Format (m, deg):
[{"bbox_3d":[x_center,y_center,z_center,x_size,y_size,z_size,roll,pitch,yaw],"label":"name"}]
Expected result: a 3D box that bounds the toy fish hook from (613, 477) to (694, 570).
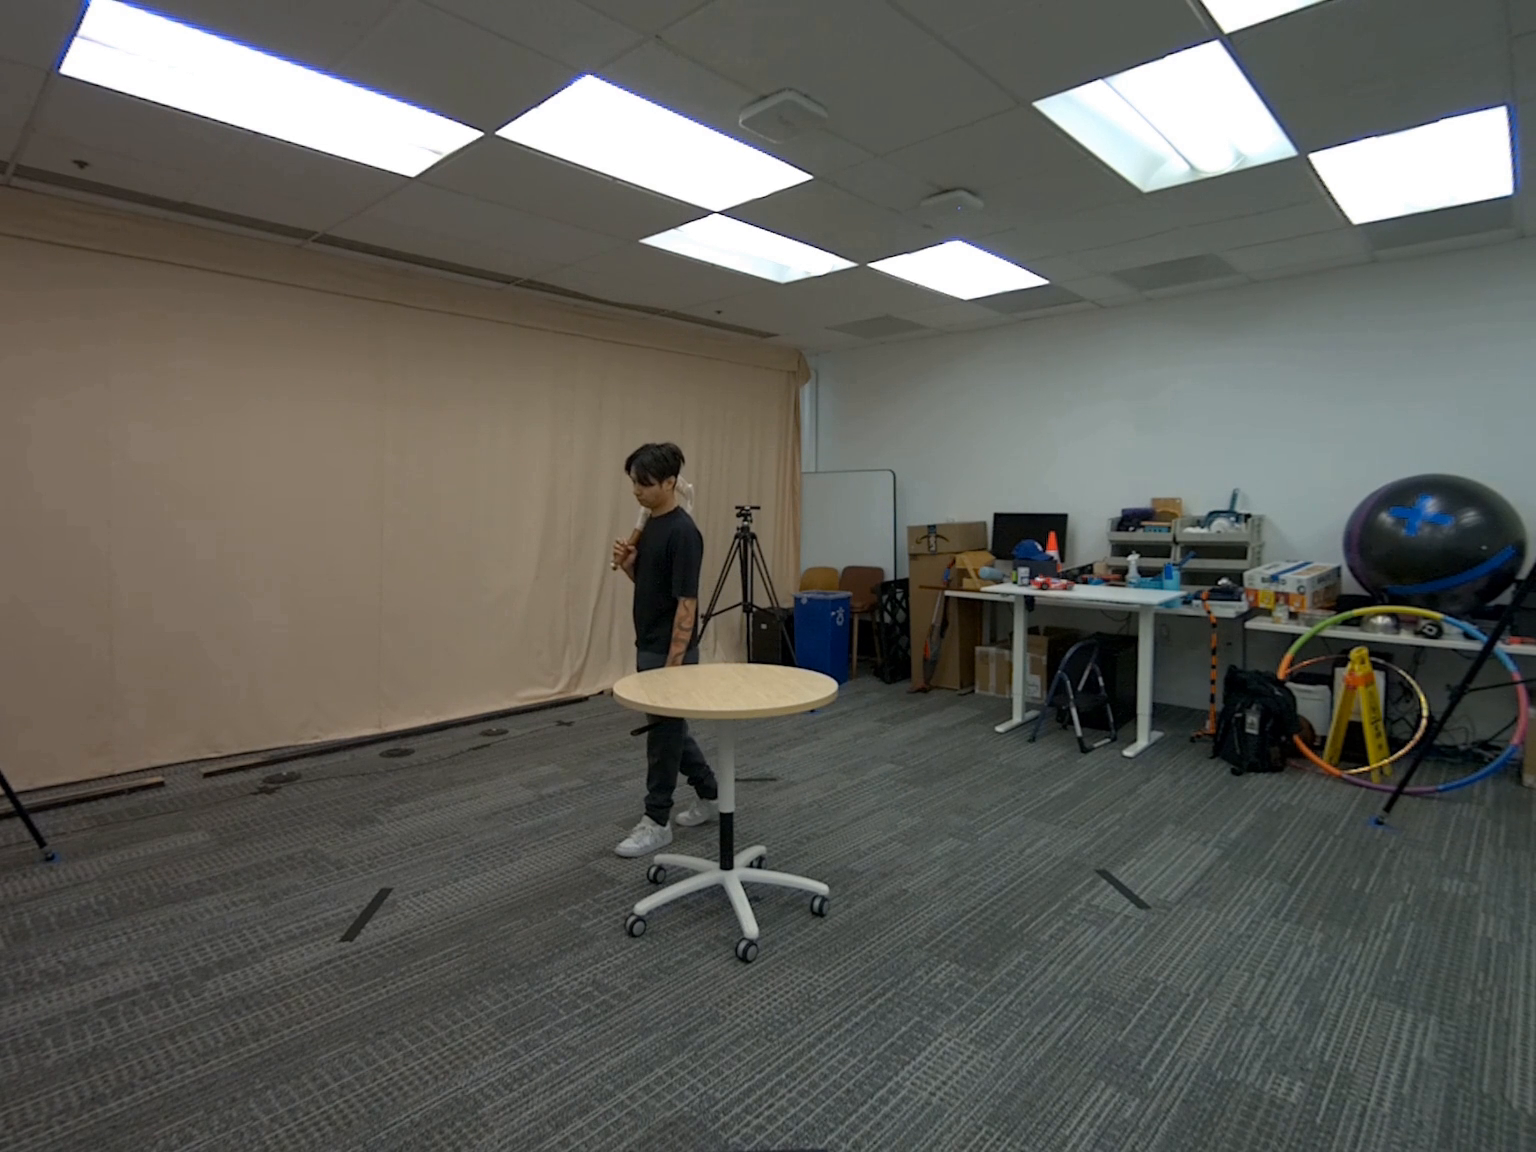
[{"bbox_3d":[-0.473,-0.208,3.548,0.222,0.506,0.049,33,-18,-10],"label":"toy fish hook"}]
